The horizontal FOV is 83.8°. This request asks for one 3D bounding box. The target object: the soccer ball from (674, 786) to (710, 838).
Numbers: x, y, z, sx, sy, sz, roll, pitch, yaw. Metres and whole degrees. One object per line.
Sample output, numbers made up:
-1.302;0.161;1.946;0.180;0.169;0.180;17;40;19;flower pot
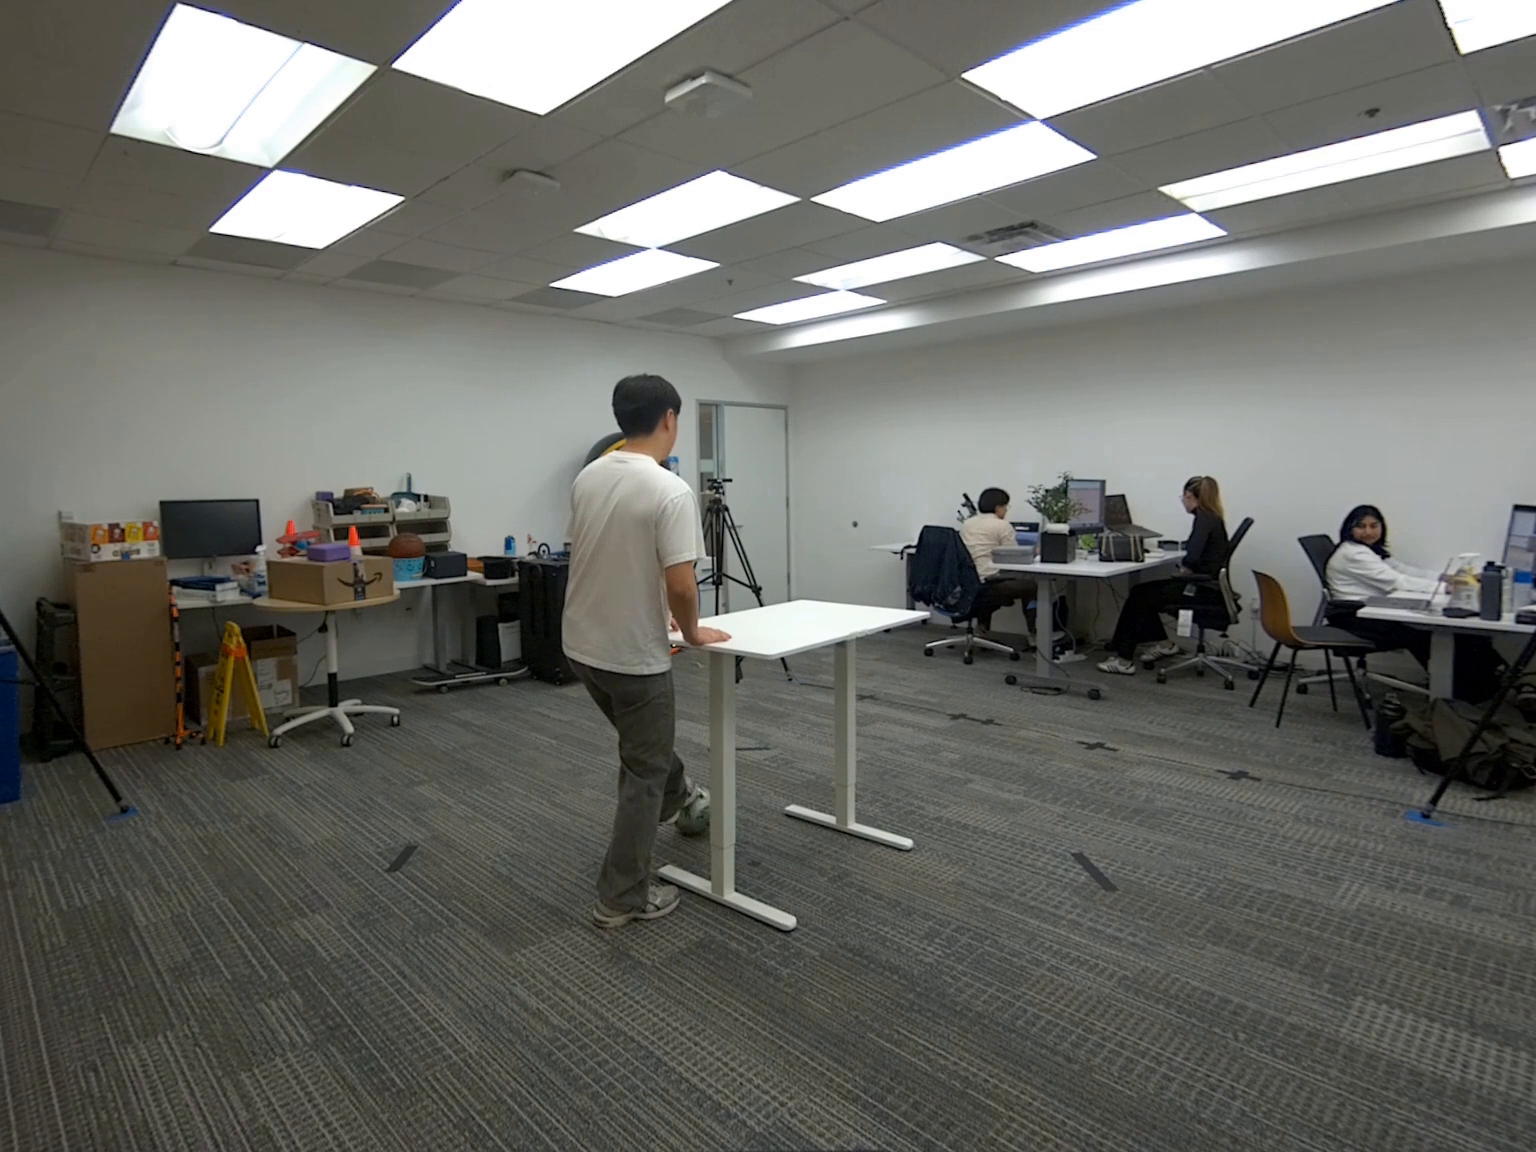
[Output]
-0.299;0.925;3.383;0.187;0.187;0.188;-1;5;-2;soccer ball
